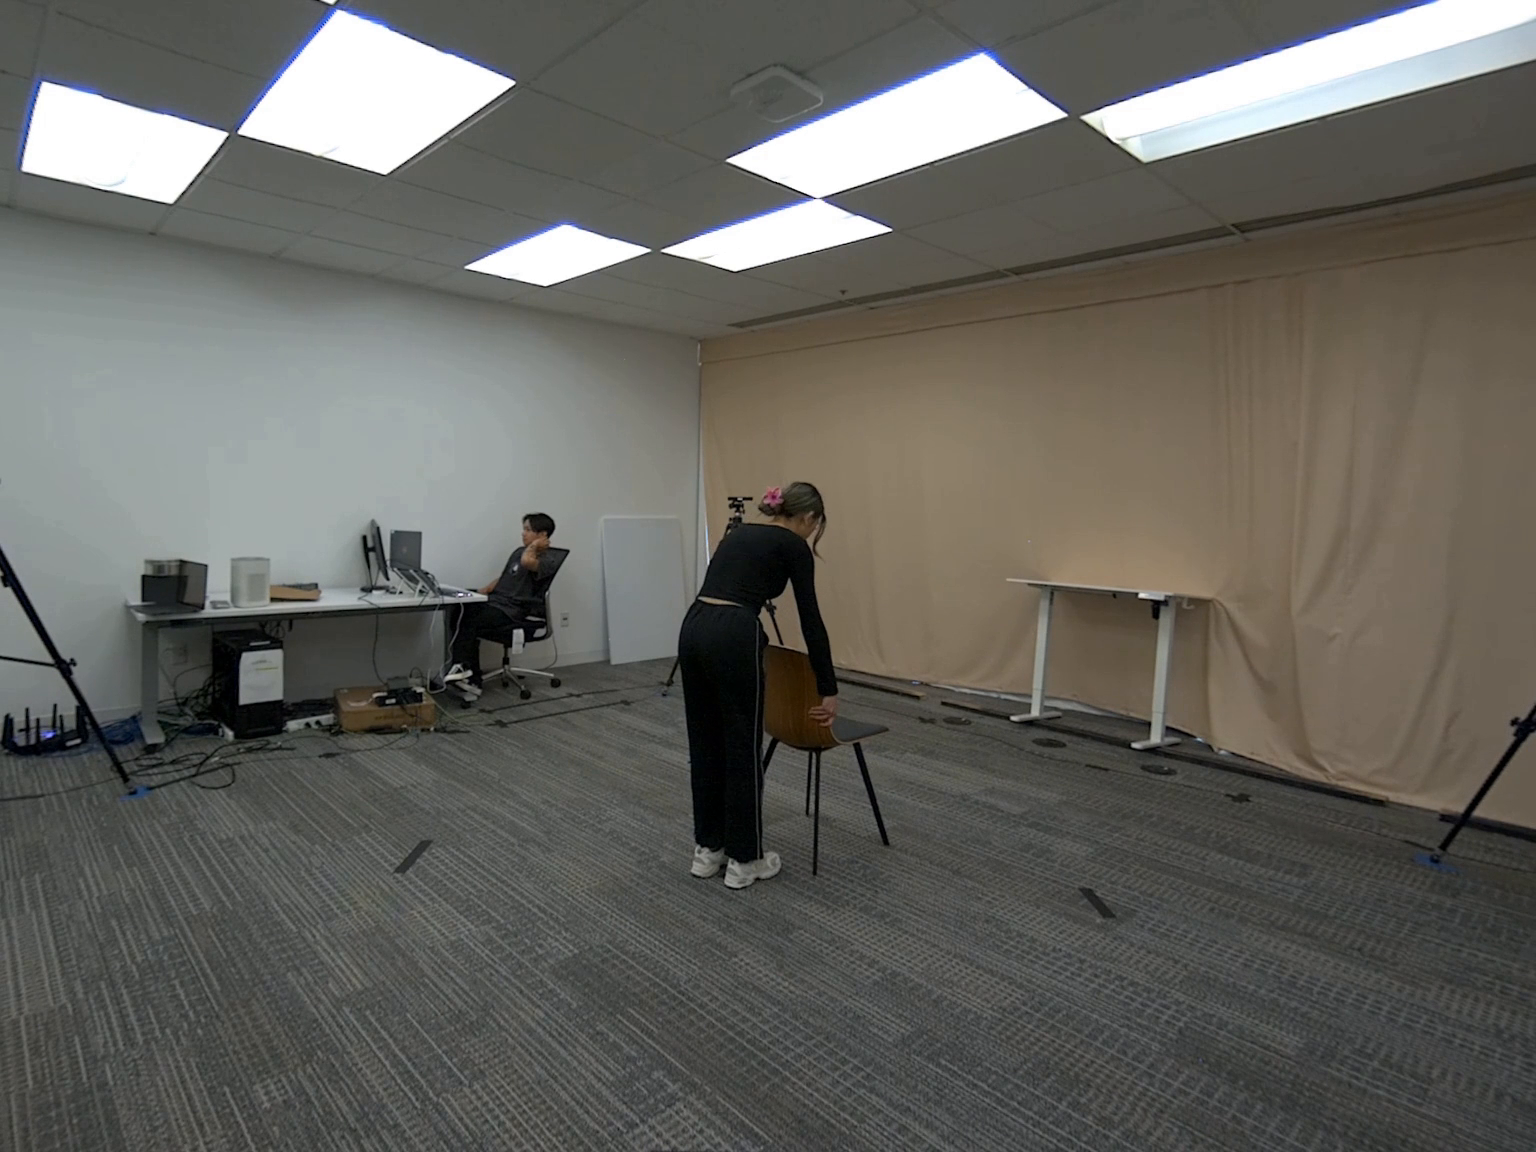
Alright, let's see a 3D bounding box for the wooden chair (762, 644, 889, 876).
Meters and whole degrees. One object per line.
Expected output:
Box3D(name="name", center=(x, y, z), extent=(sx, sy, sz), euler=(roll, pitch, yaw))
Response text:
Box3D(name="wooden chair", center=(0.187, 0.659, 3.419), extent=(0.512, 0.873, 0.490), euler=(-8, 8, -43))
